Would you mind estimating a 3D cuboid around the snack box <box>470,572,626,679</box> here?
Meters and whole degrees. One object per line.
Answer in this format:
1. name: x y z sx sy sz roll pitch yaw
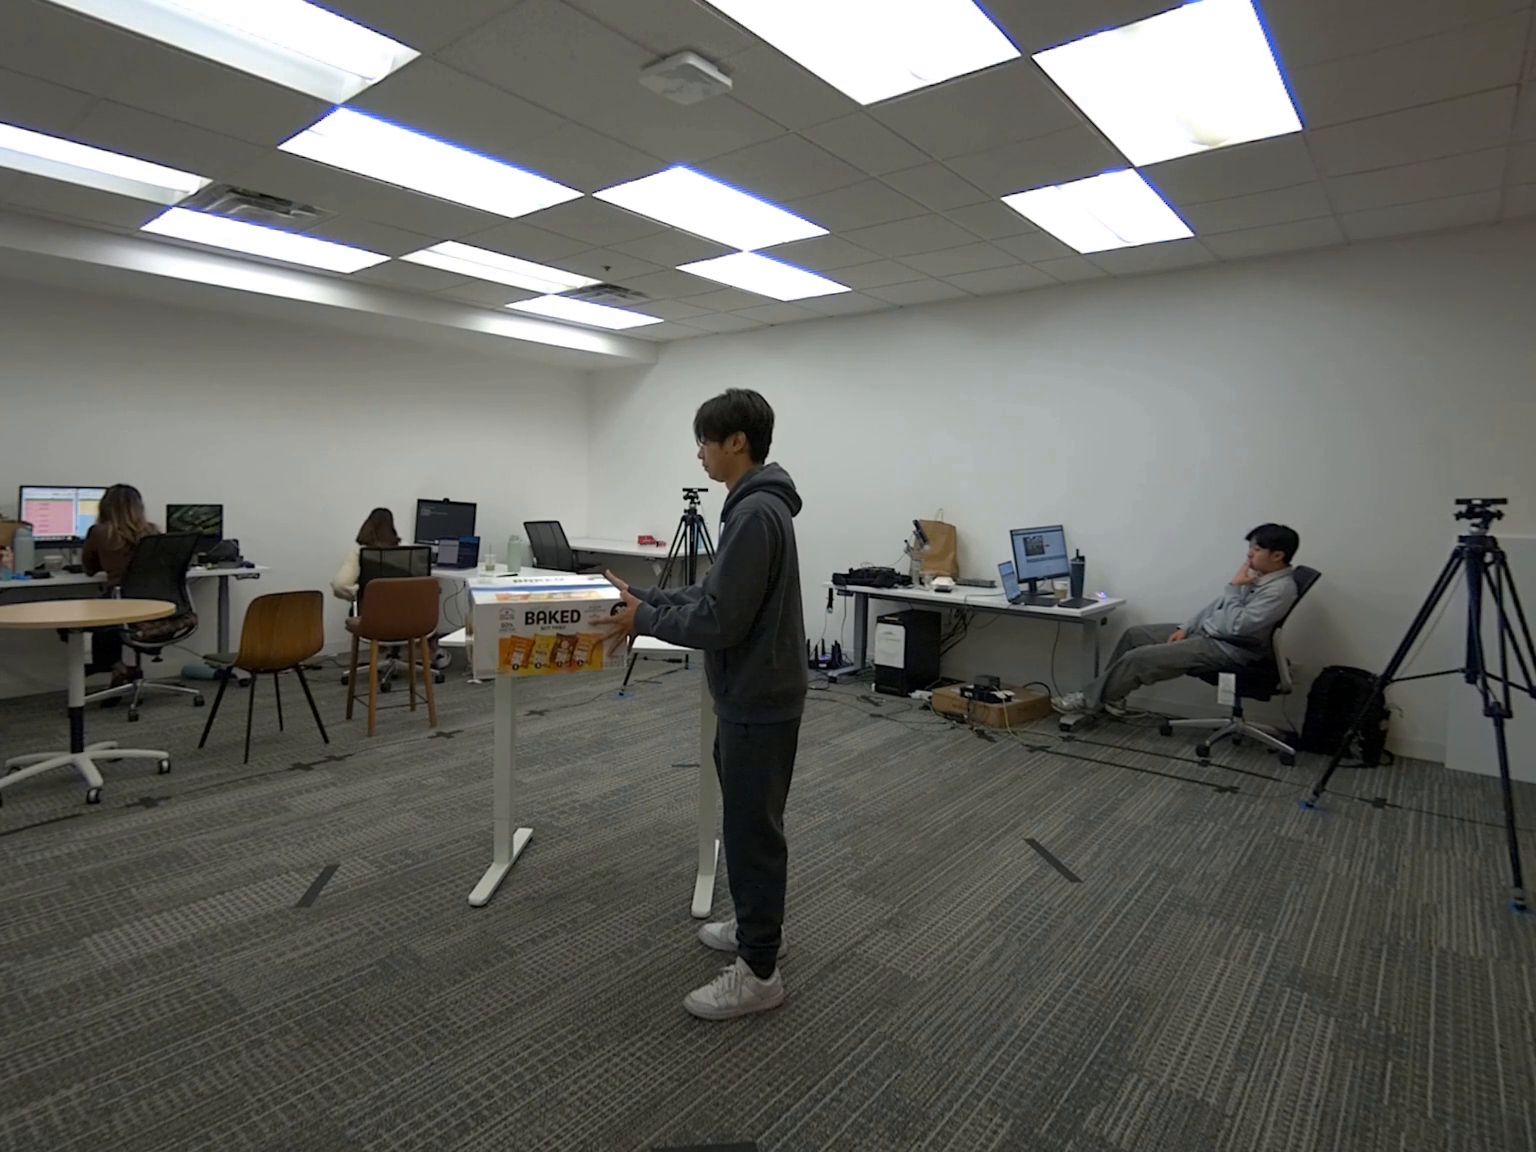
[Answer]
1. snack box: -0.642 0.135 2.398 0.397 0.204 0.350 -1 10 -22
